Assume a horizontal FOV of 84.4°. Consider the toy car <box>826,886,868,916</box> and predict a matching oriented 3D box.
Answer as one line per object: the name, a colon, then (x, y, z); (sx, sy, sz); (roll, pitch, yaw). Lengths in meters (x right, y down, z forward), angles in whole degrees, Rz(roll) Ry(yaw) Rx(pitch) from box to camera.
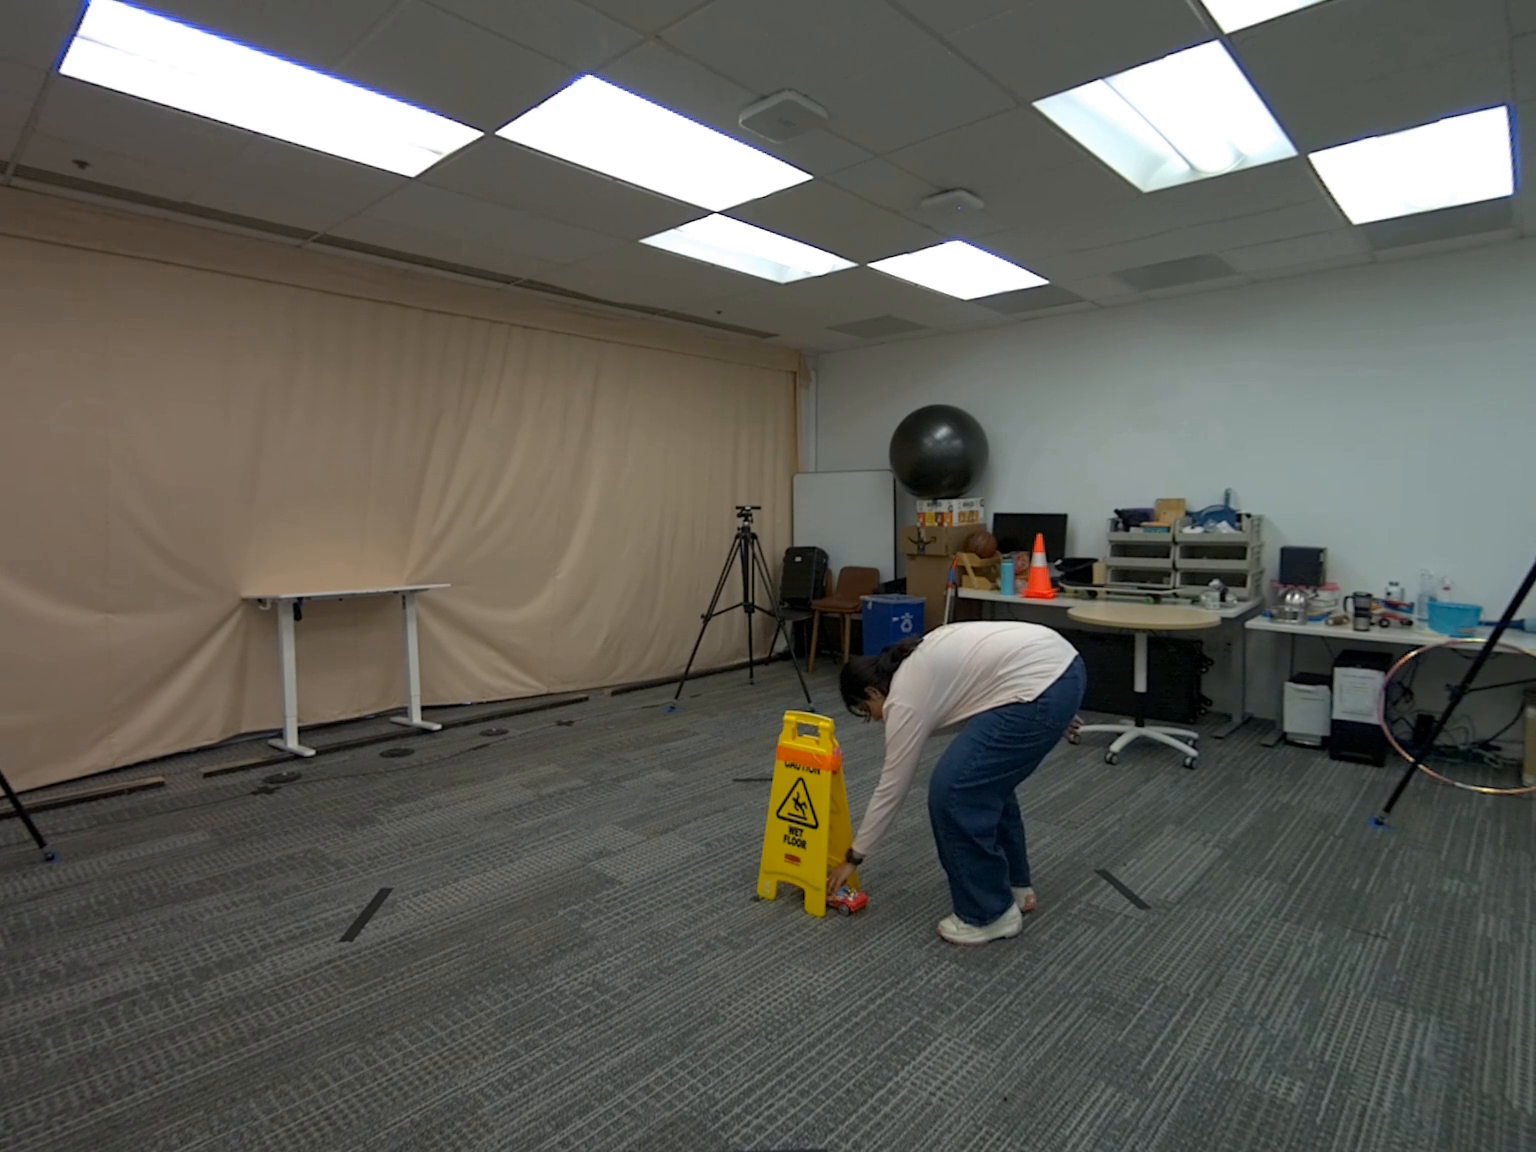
toy car: (0.230, 1.116, 2.968); (0.264, 0.083, 0.126); (16, 15, 42)
